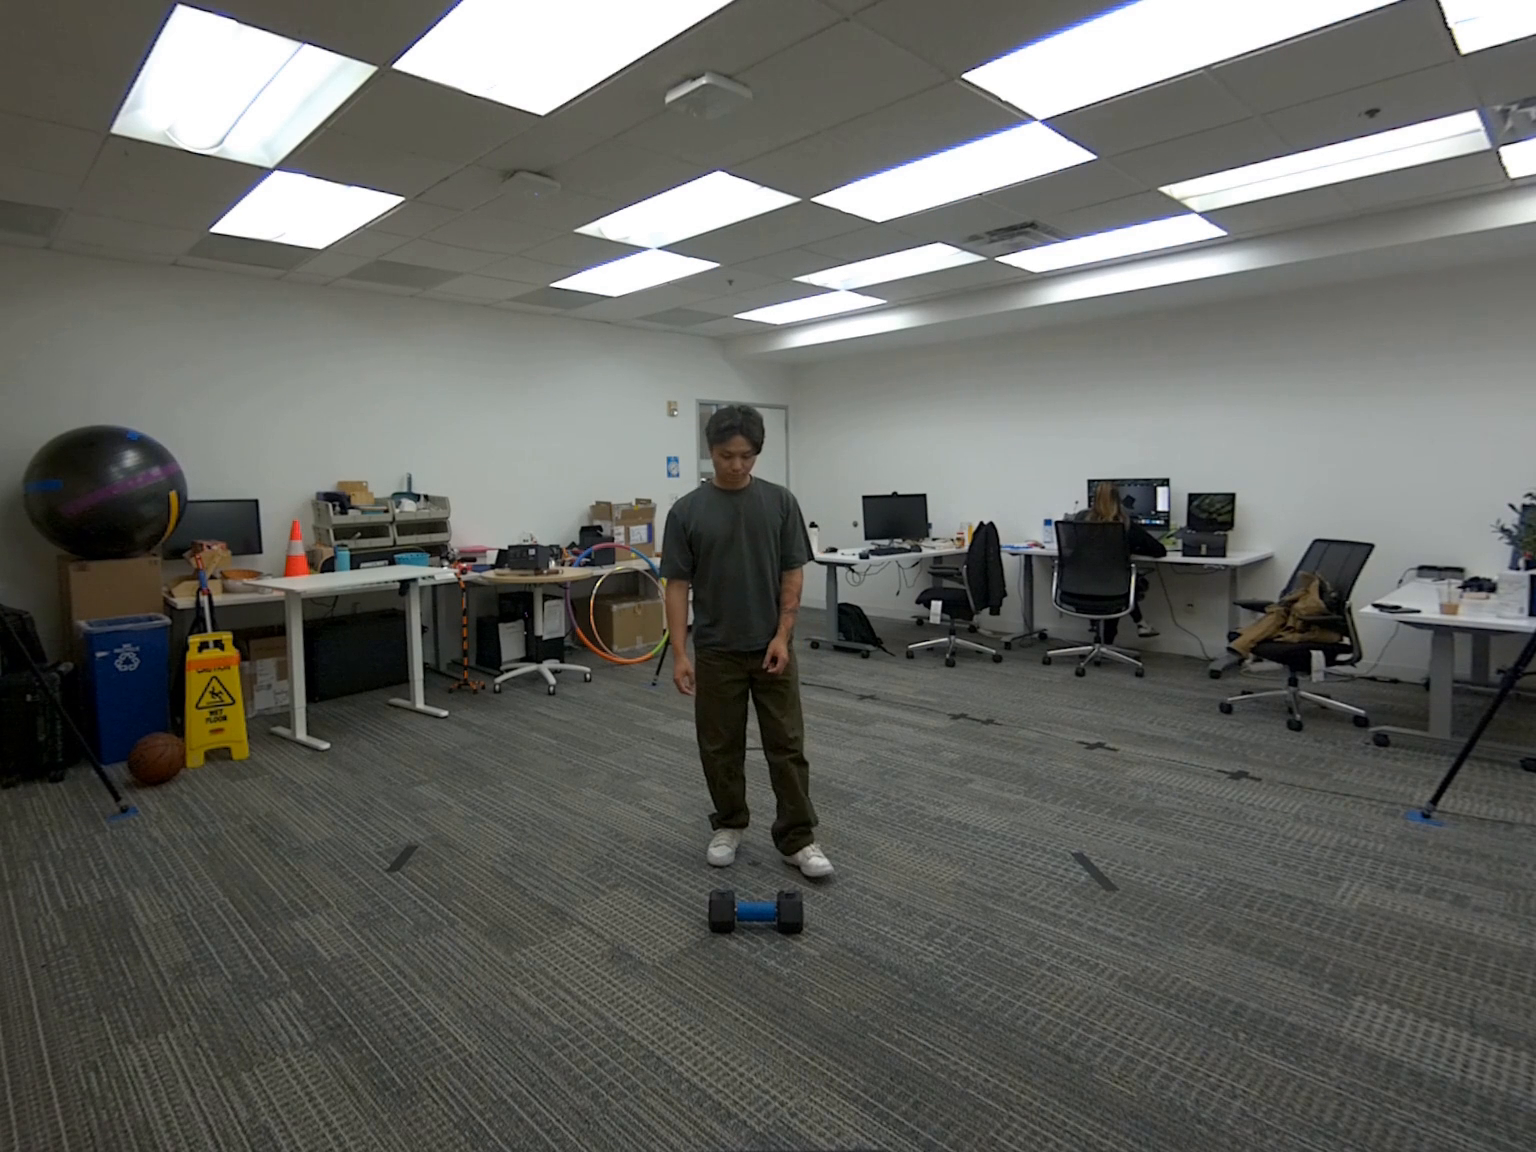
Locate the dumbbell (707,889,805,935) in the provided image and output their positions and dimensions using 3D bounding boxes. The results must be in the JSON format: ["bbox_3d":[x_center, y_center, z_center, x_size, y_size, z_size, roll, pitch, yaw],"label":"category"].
[{"bbox_3d":[-0.033,1.050,2.656,0.294,0.125,0.106,-1,-25,3],"label":"dumbbell"}]
